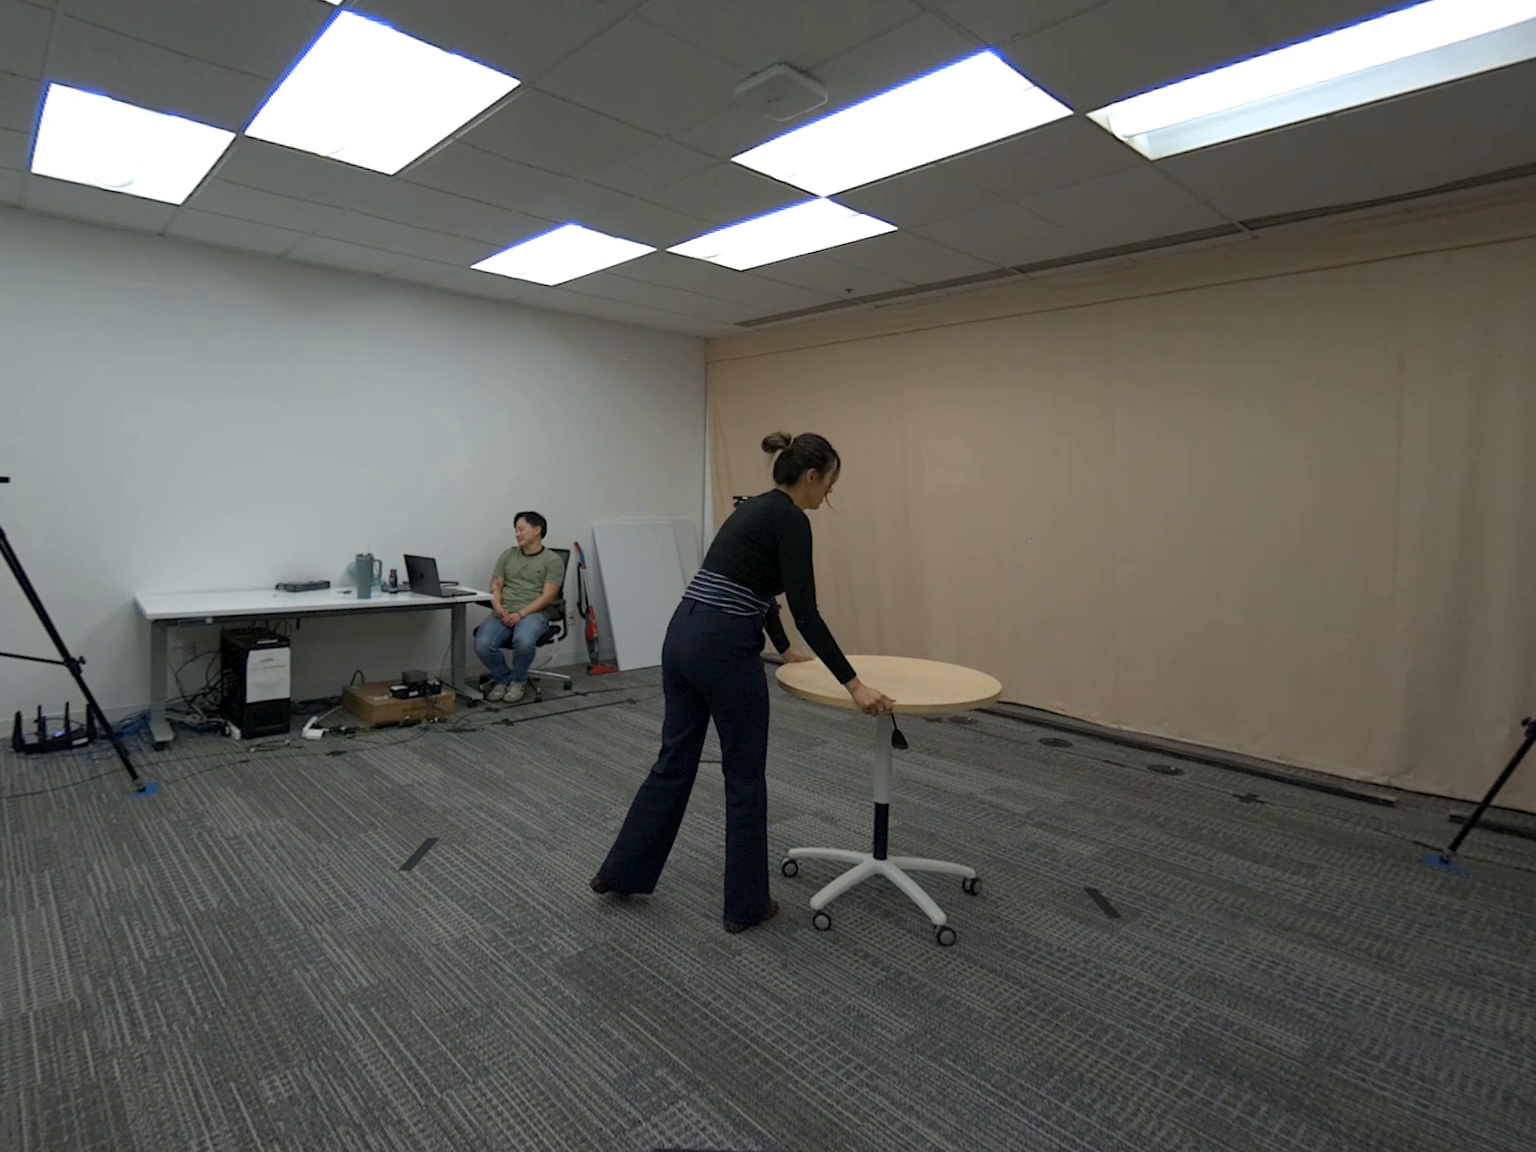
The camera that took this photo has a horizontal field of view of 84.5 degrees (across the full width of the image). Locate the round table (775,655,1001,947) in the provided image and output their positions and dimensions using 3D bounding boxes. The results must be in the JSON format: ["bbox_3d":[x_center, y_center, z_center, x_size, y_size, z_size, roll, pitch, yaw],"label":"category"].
[{"bbox_3d":[0.388,0.742,2.946,0.763,0.792,0.767,2,4,-1],"label":"round table"}]
